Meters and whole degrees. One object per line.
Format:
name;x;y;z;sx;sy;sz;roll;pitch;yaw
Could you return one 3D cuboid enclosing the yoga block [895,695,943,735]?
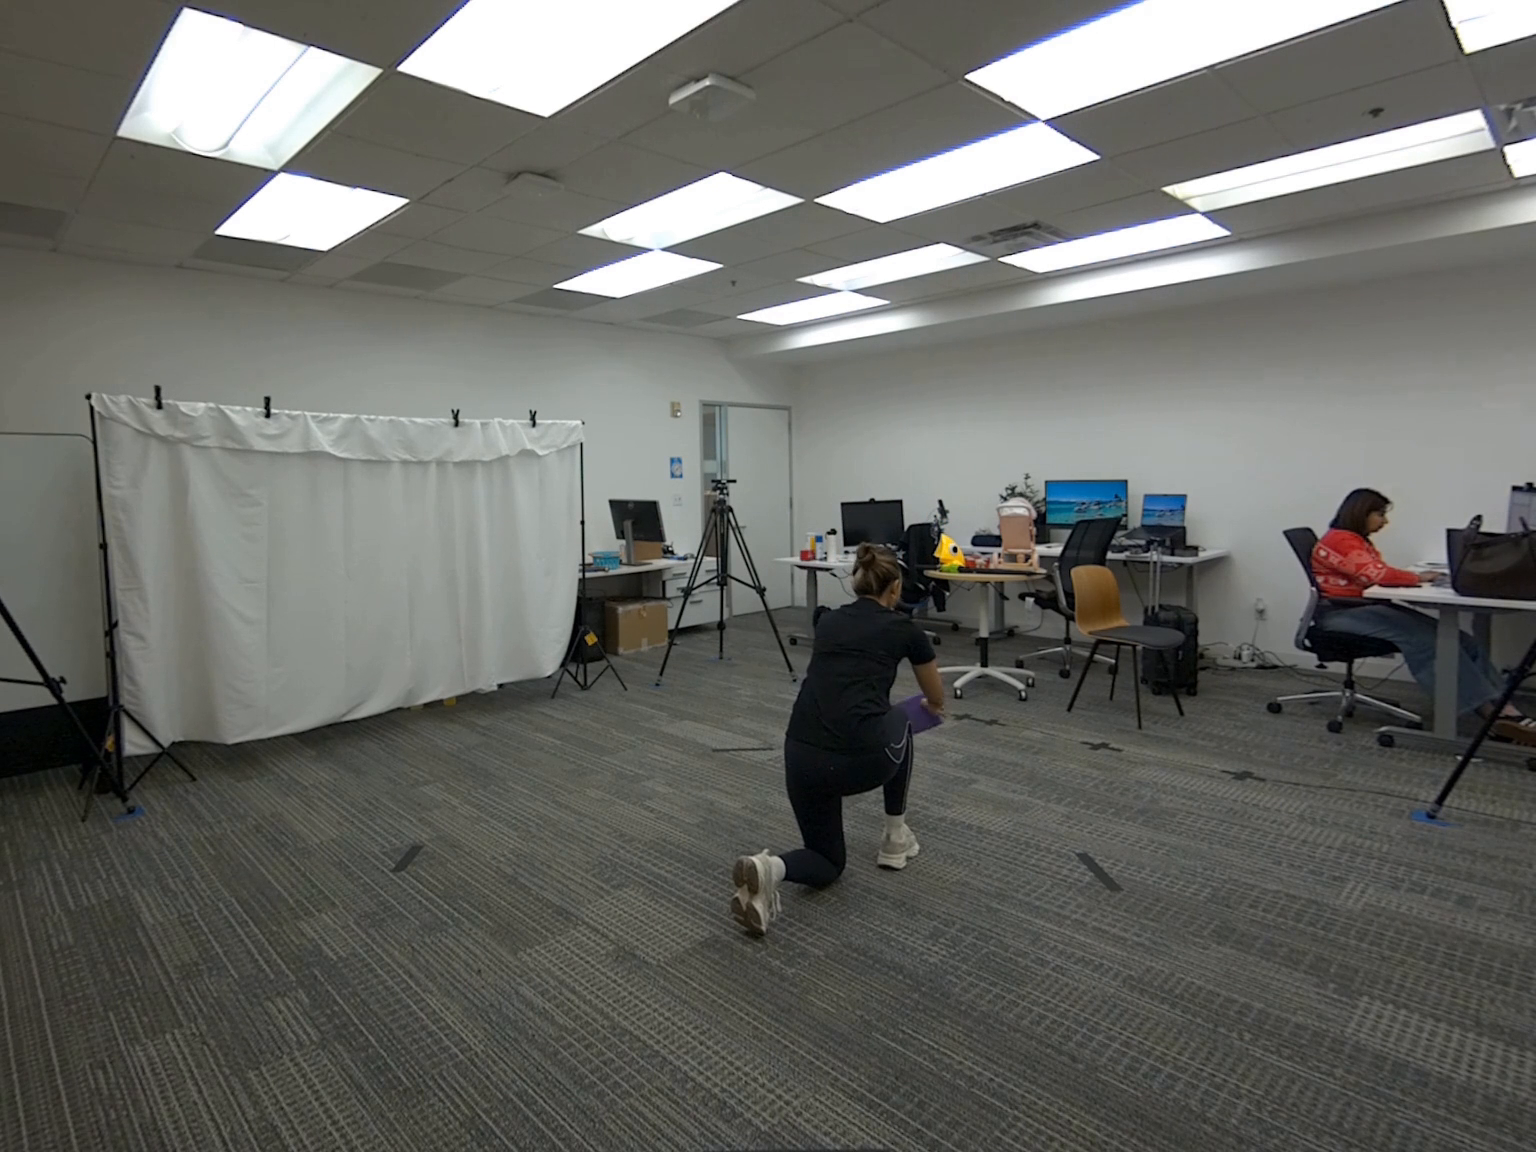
yoga block;0.607;0.546;3.560;0.233;0.149;0.075;-11;-4;22
